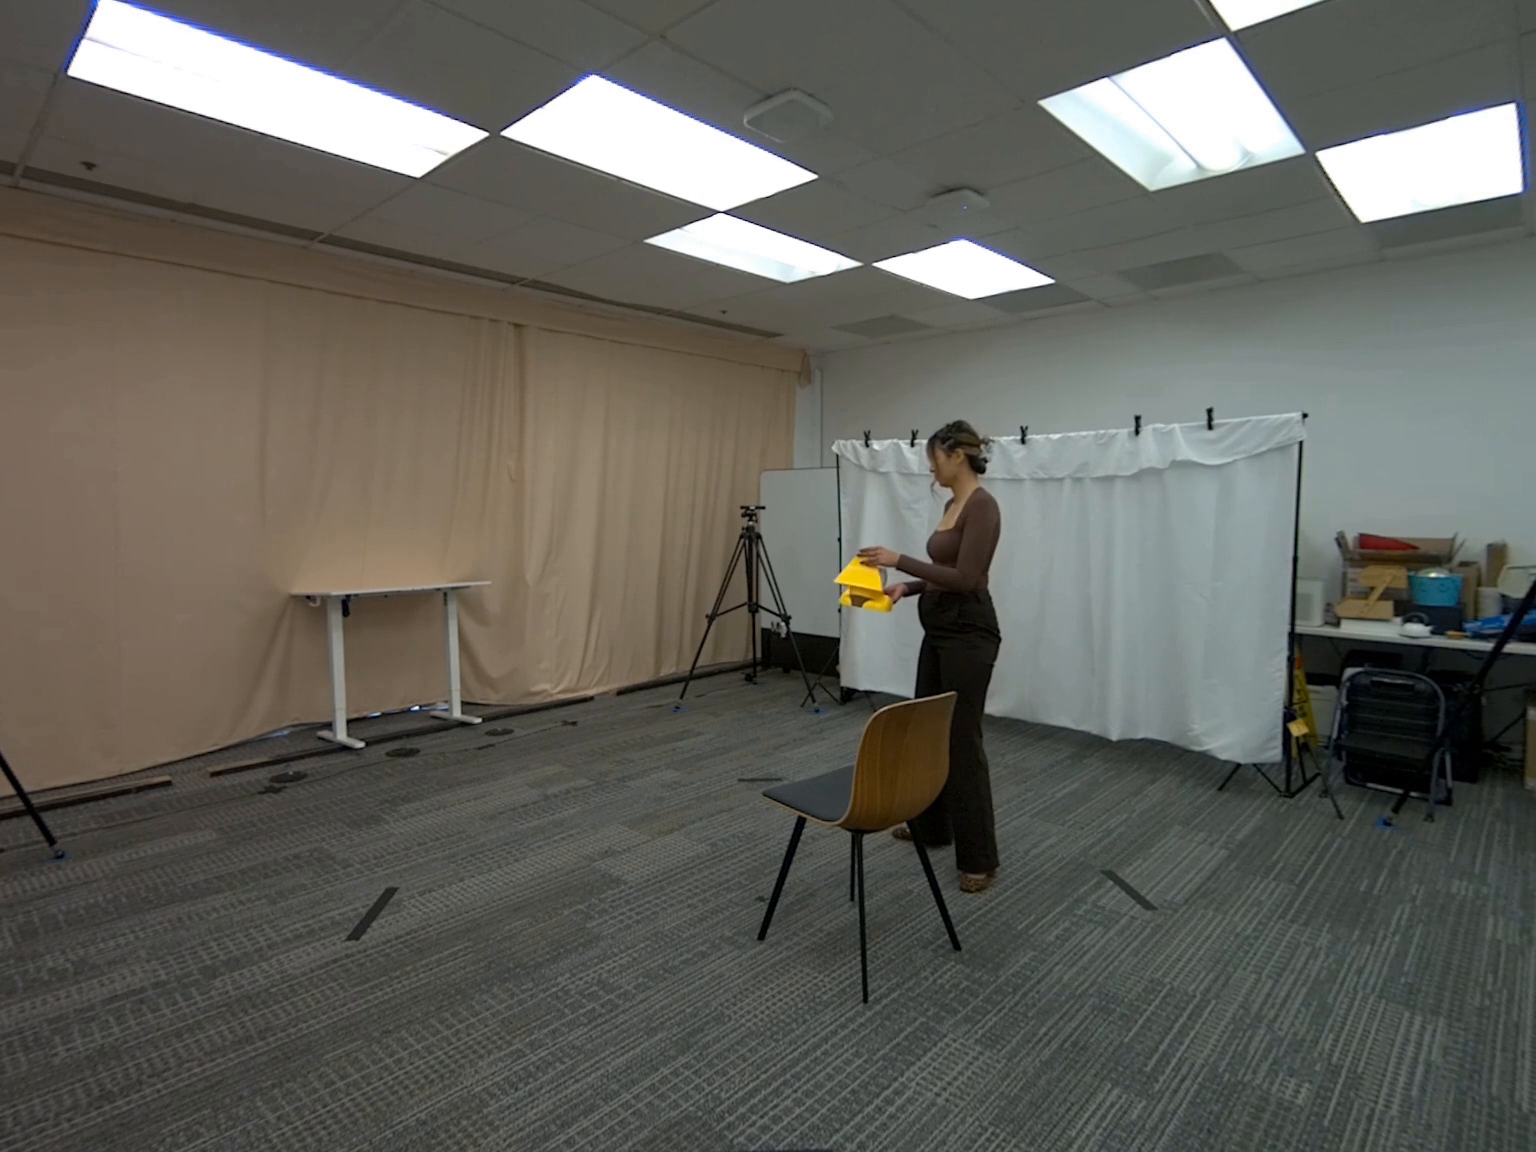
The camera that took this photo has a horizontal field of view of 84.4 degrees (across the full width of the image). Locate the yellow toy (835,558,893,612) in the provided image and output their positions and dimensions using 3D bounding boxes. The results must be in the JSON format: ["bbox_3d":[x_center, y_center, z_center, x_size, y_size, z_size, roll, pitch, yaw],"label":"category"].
[{"bbox_3d":[0.402,0.009,3.267,0.211,0.230,0.187,11,3,33],"label":"yellow toy"}]
